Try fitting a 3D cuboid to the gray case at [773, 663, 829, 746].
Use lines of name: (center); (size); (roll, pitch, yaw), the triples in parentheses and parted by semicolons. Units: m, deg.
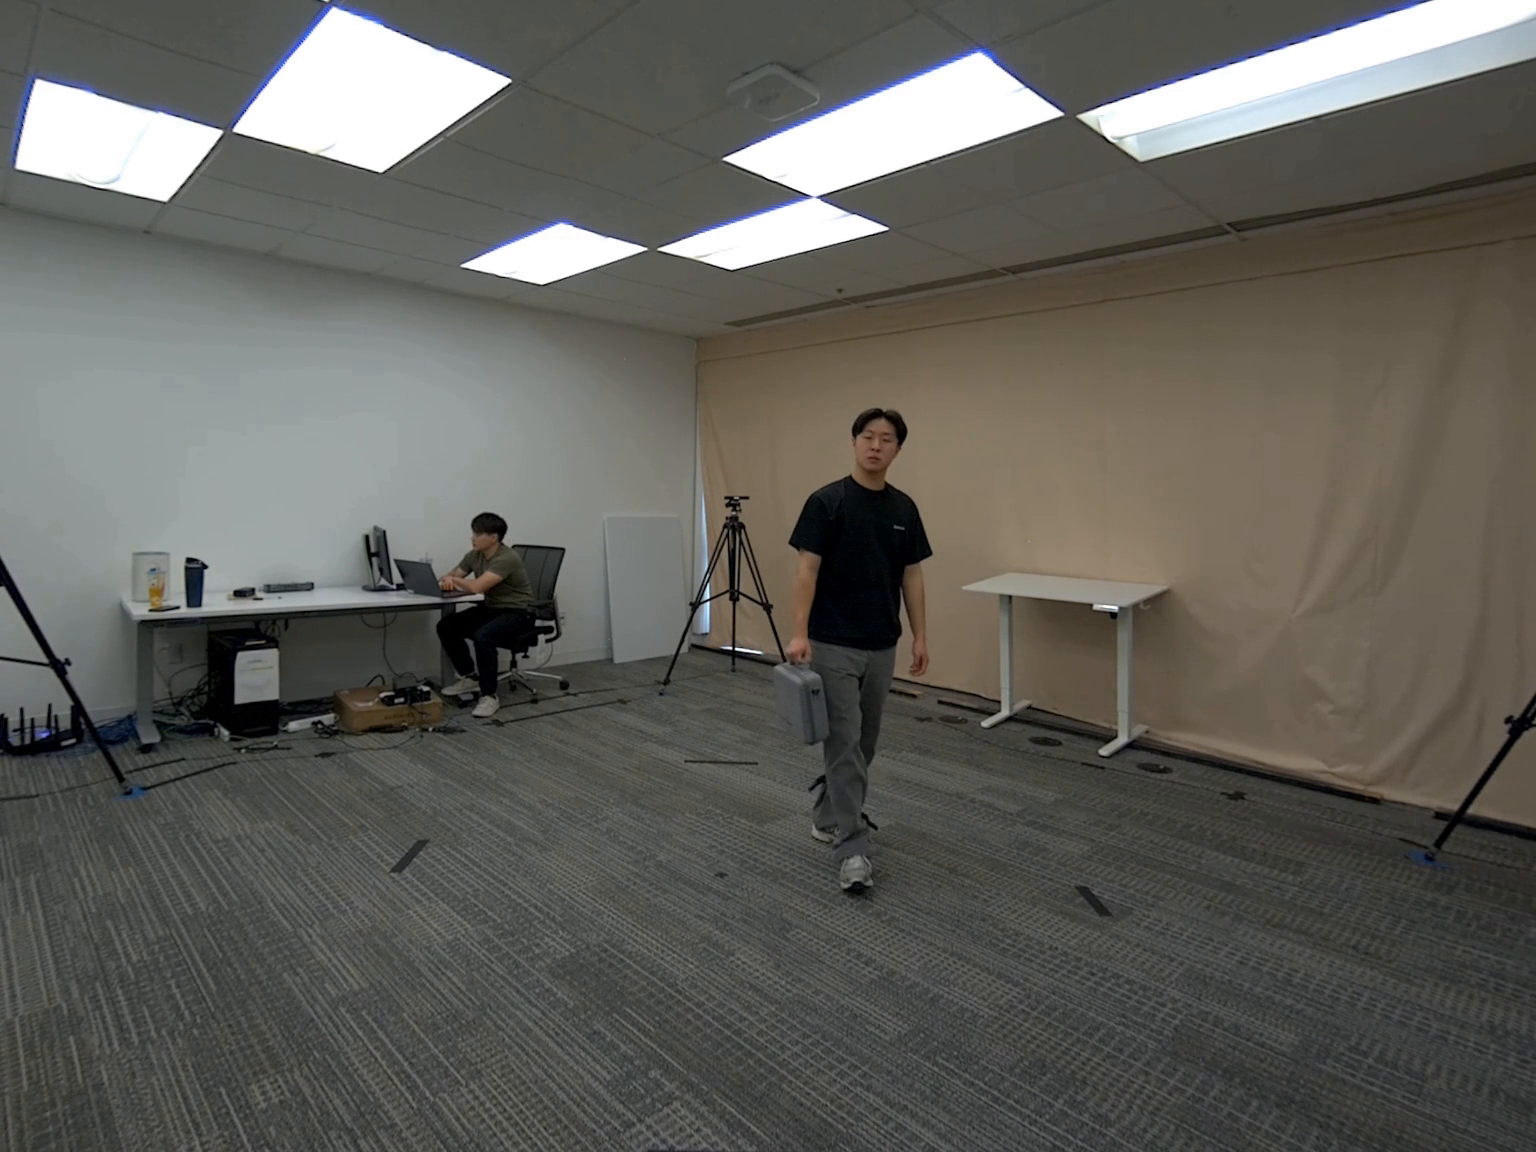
gray case: (0.108, 0.452, 3.104); (0.102, 0.285, 0.268); (-9, 11, -16)
